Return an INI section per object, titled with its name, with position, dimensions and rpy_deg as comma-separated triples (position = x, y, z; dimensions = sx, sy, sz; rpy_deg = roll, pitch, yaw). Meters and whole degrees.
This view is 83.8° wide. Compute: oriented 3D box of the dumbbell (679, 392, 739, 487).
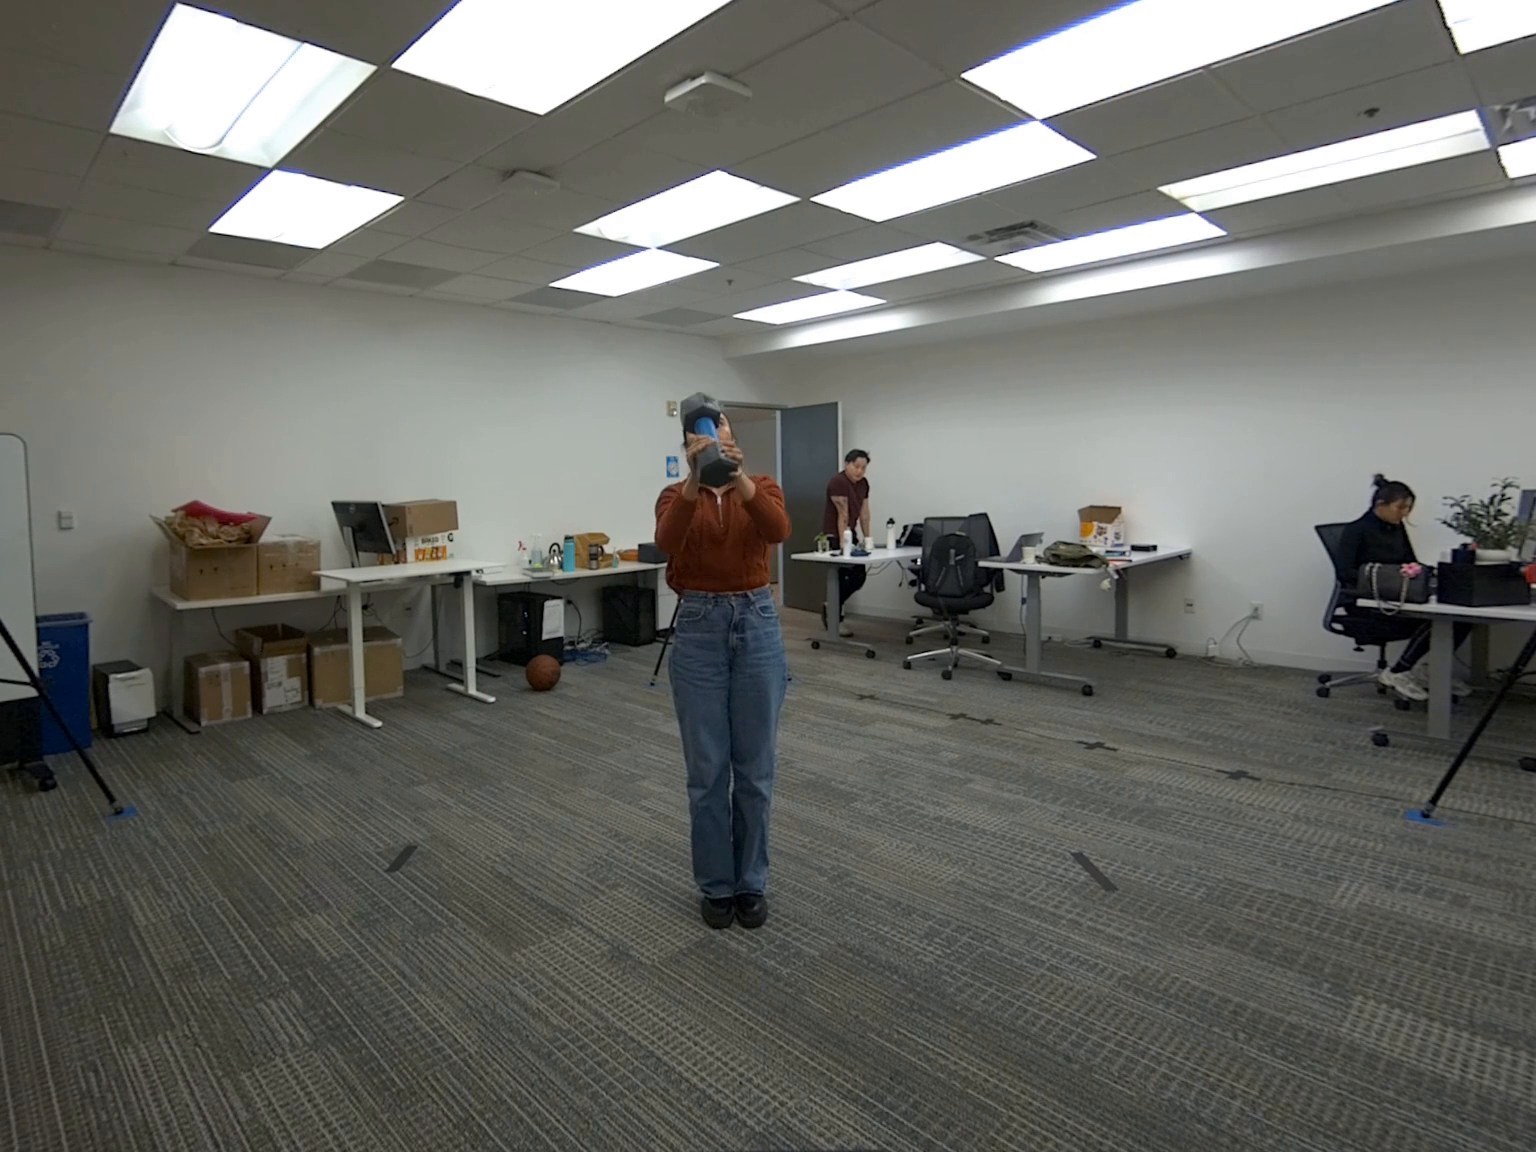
[dumbbell]
position = -0.168, -0.395, 2.434
dimensions = 0.108, 0.303, 0.120
rpy_deg = -8, -39, -12
